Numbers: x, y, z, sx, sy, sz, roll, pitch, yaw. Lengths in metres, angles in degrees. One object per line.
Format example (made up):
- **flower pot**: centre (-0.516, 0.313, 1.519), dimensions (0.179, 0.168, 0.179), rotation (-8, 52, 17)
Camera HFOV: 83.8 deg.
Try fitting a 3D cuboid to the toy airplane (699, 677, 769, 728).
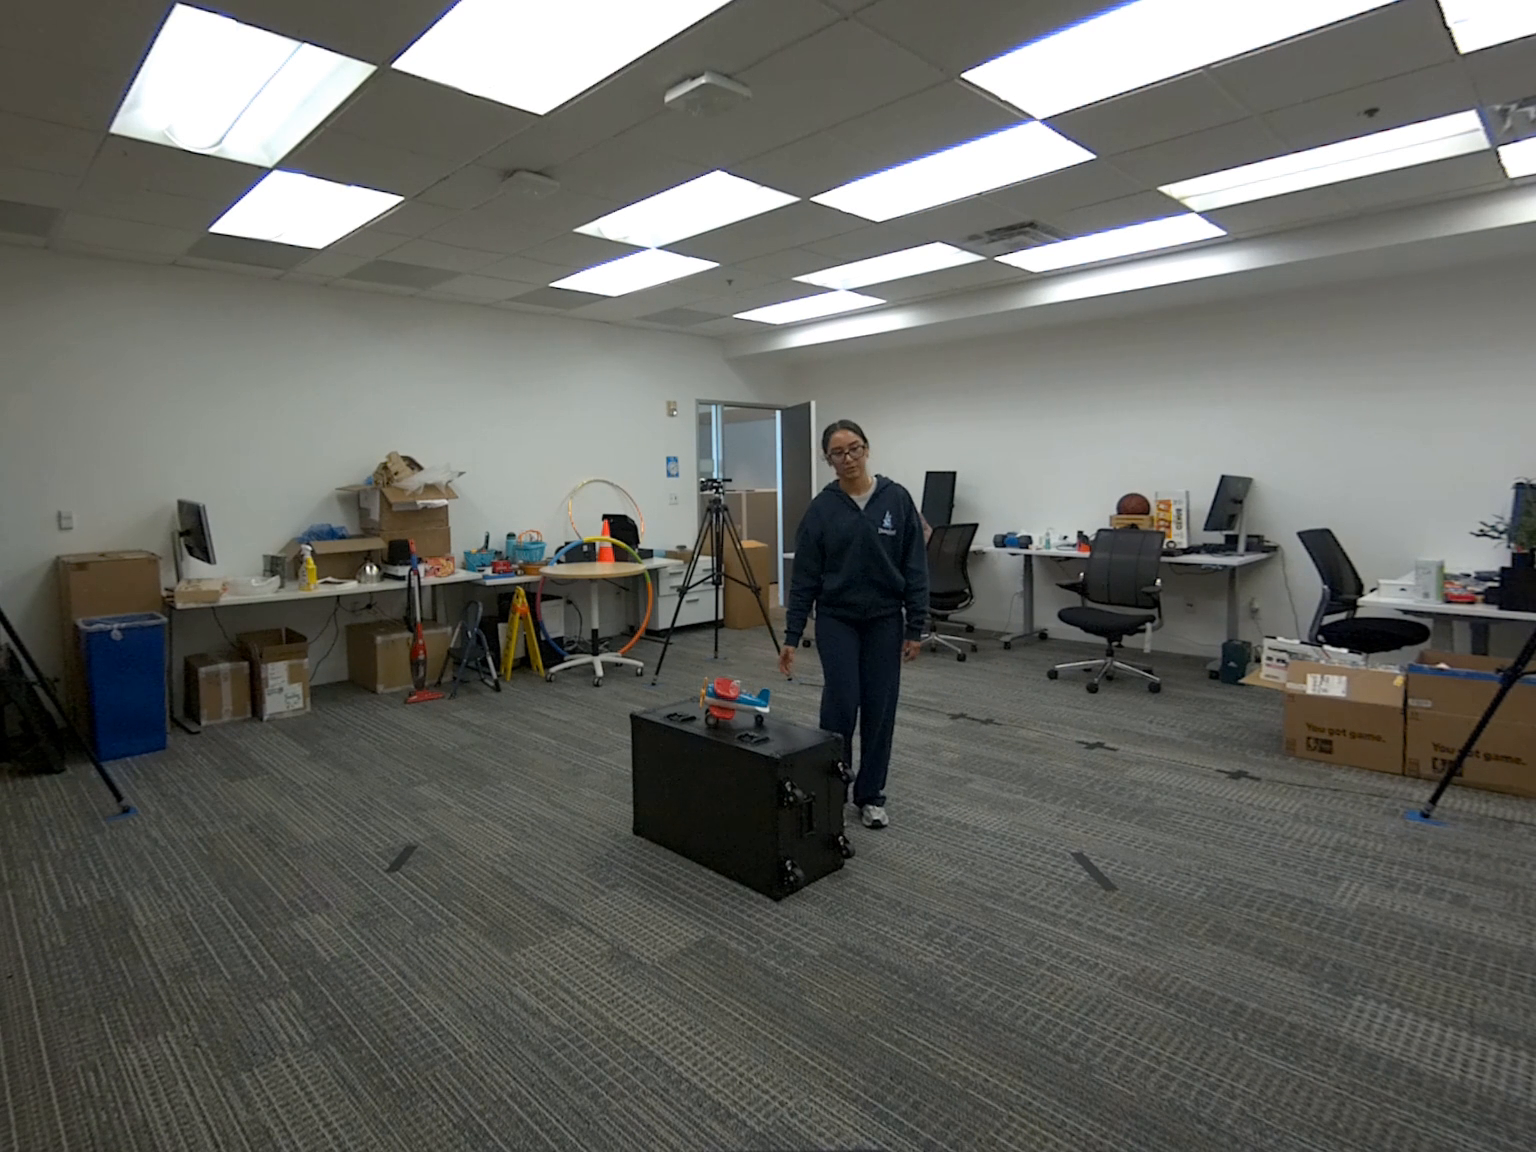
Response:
- **toy airplane**: centre (-0.128, 0.472, 3.213), dimensions (0.254, 0.156, 0.257), rotation (-5, 6, -26)
